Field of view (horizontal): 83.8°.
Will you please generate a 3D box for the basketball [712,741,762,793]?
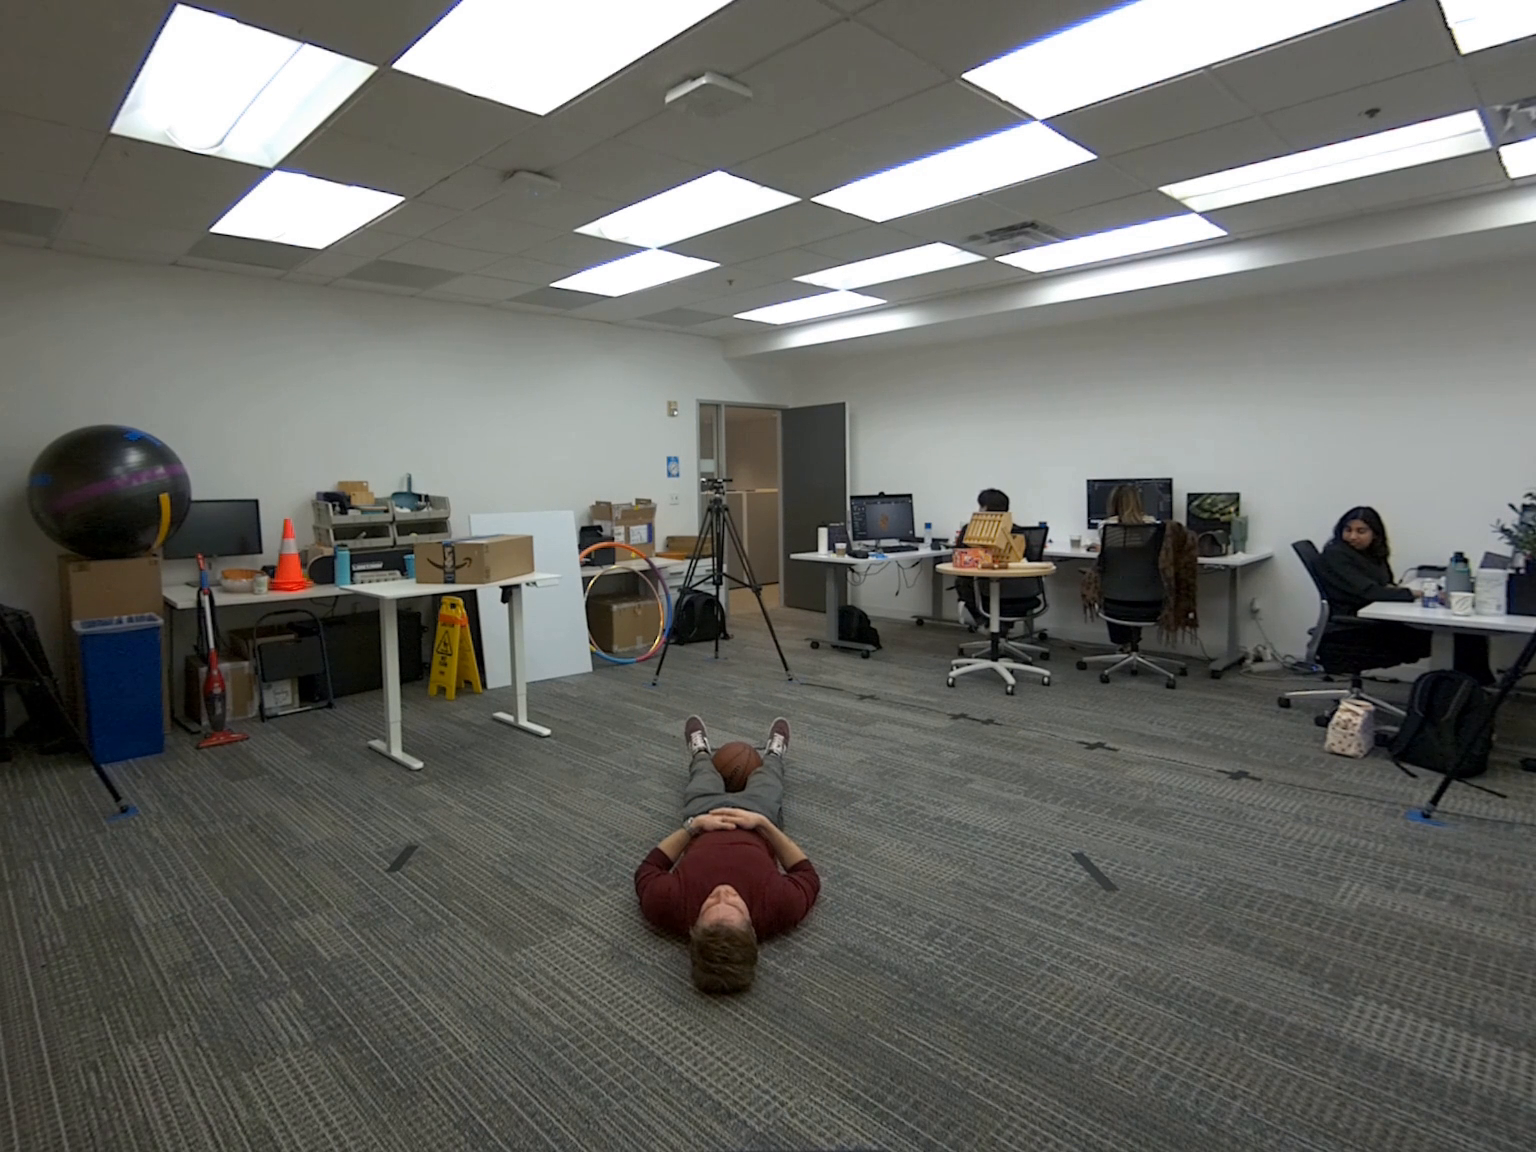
[{"bbox_3d":[-0.138,0.845,3.759,0.236,0.235,0.237,-1,5,-2],"label":"basketball"}]
